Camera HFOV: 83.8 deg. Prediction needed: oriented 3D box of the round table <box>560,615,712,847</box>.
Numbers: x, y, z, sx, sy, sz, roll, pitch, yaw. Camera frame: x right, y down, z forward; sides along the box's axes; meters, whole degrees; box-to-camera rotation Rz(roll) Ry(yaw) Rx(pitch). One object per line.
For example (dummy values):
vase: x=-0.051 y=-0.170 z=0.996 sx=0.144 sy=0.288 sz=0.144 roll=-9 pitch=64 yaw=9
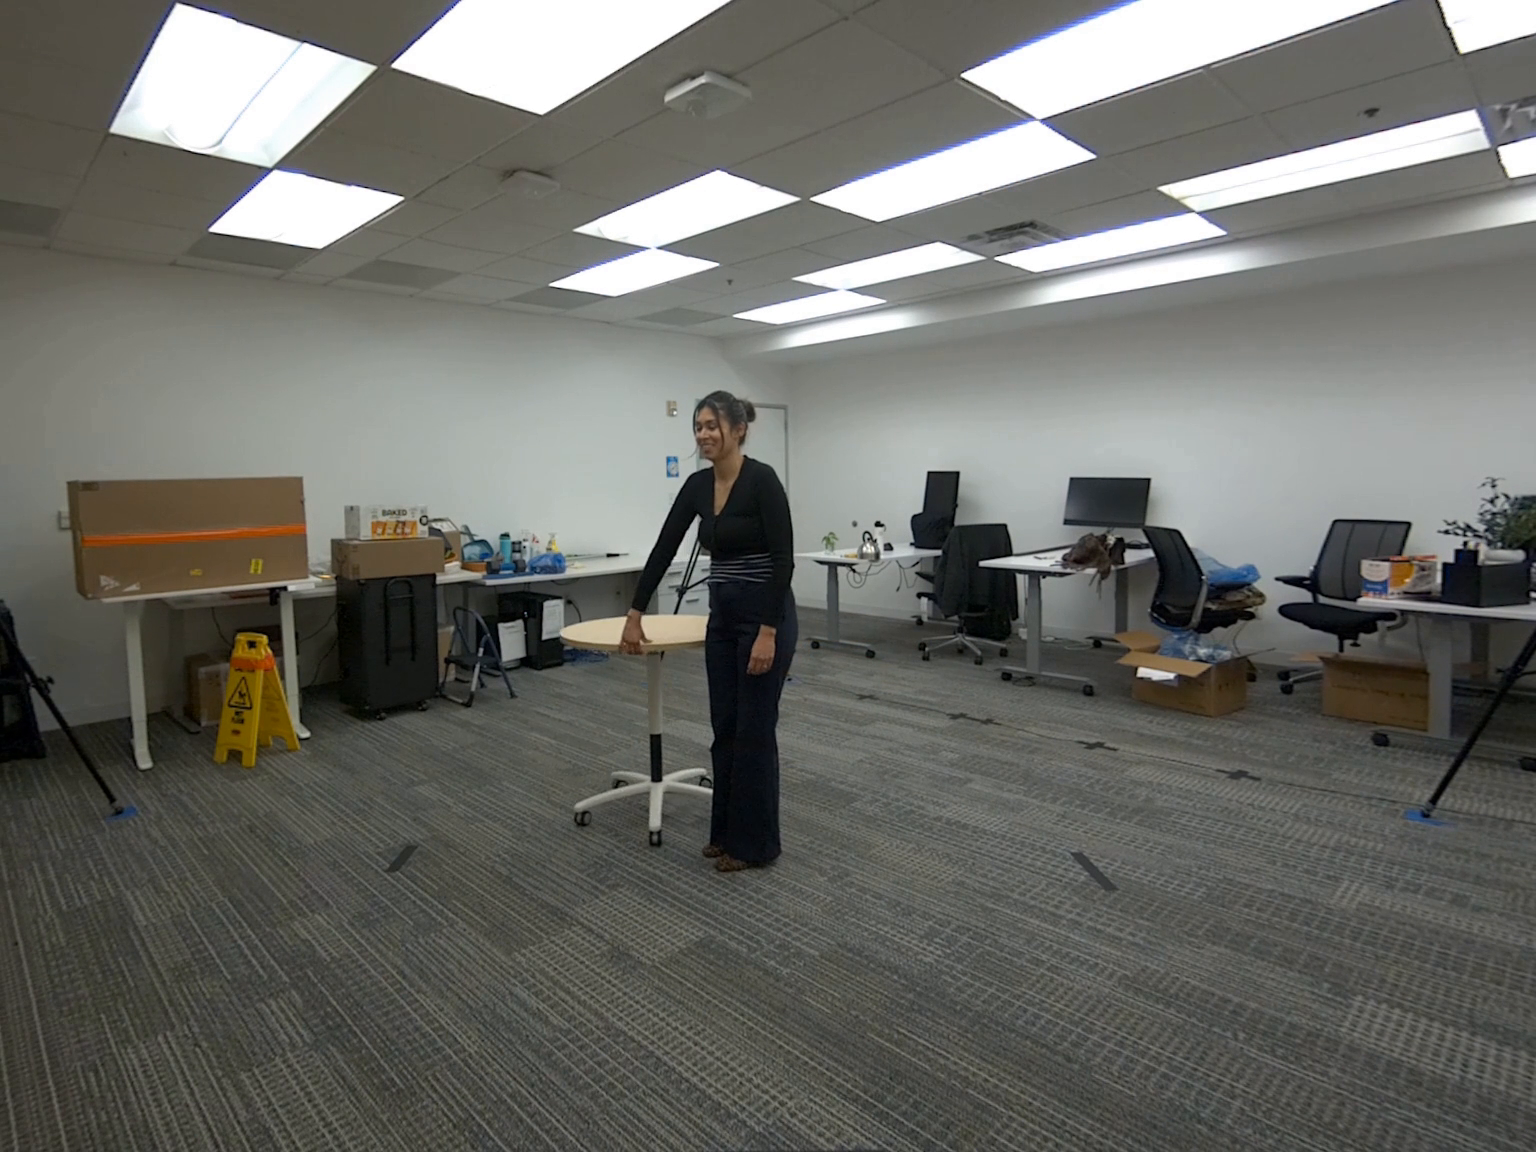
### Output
round table: x=-0.468 y=0.610 z=3.567 sx=0.763 sy=0.792 sz=0.767 roll=-1 pitch=4 yaw=-2
